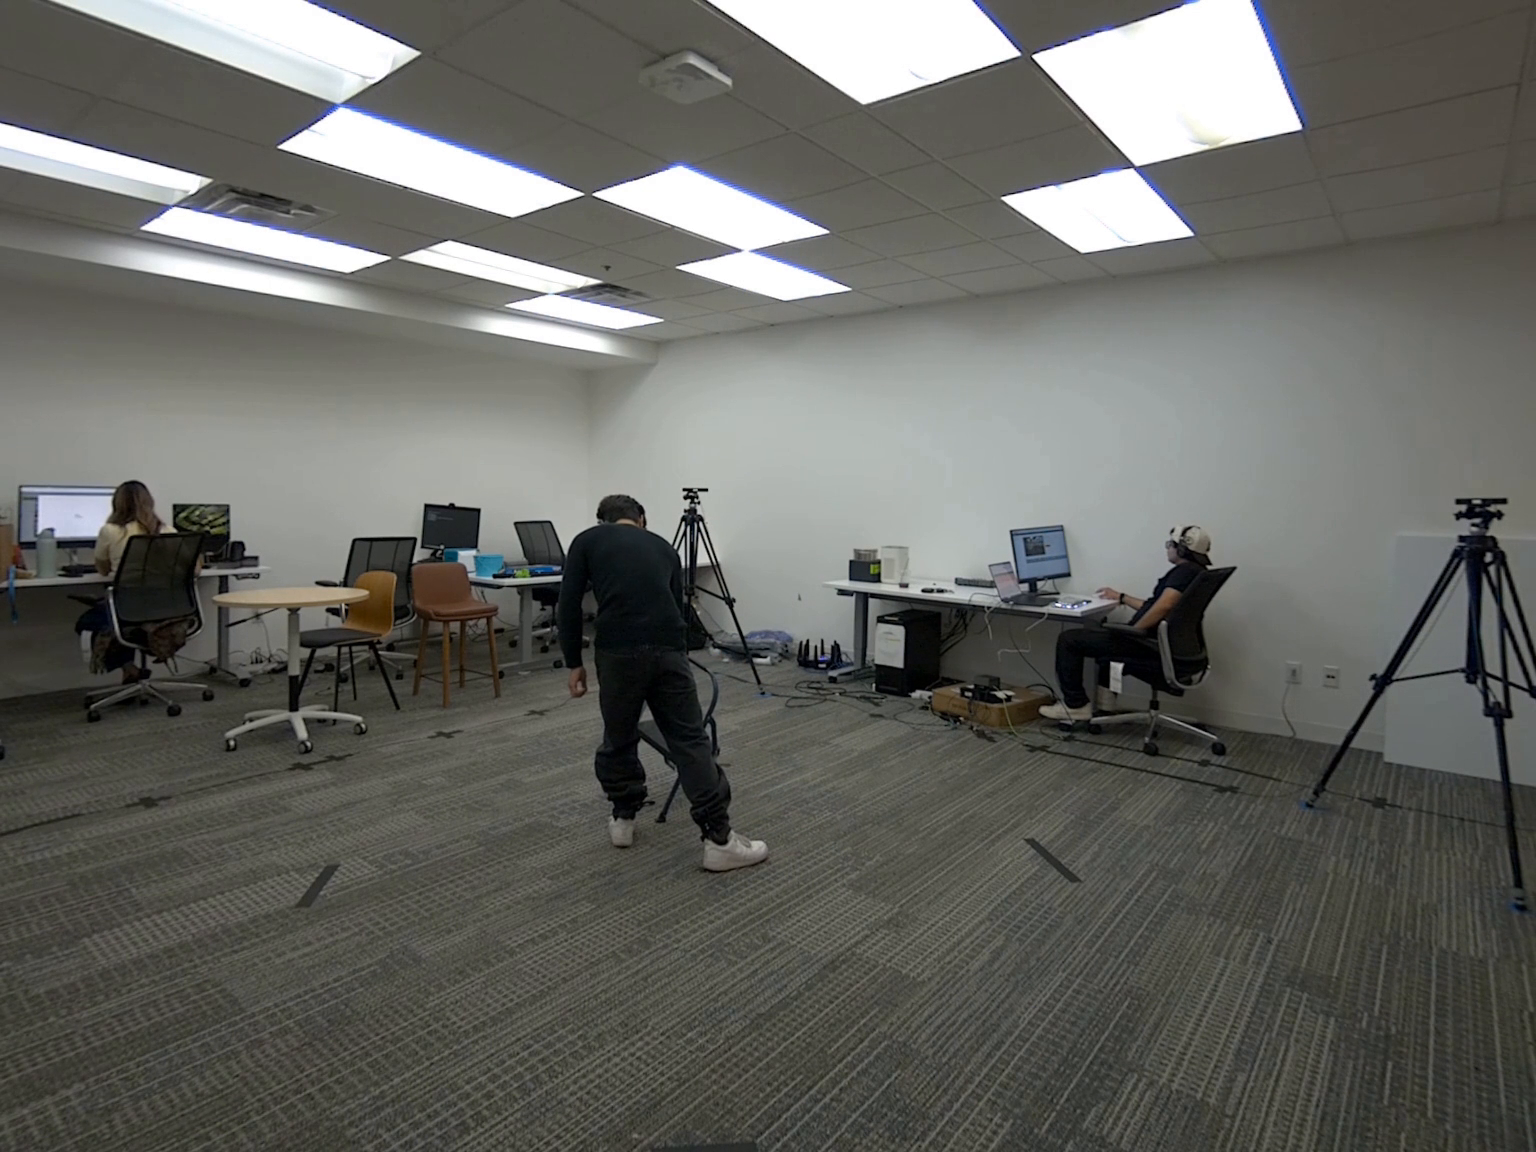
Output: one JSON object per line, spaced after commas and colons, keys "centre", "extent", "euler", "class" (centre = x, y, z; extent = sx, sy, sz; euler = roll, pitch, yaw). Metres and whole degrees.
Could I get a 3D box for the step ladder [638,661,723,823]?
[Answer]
{"centre": [-0.424, 0.664, 3.736], "extent": [0.338, 0.600, 0.448], "euler": [-2, 17, -43], "class": "step ladder"}
